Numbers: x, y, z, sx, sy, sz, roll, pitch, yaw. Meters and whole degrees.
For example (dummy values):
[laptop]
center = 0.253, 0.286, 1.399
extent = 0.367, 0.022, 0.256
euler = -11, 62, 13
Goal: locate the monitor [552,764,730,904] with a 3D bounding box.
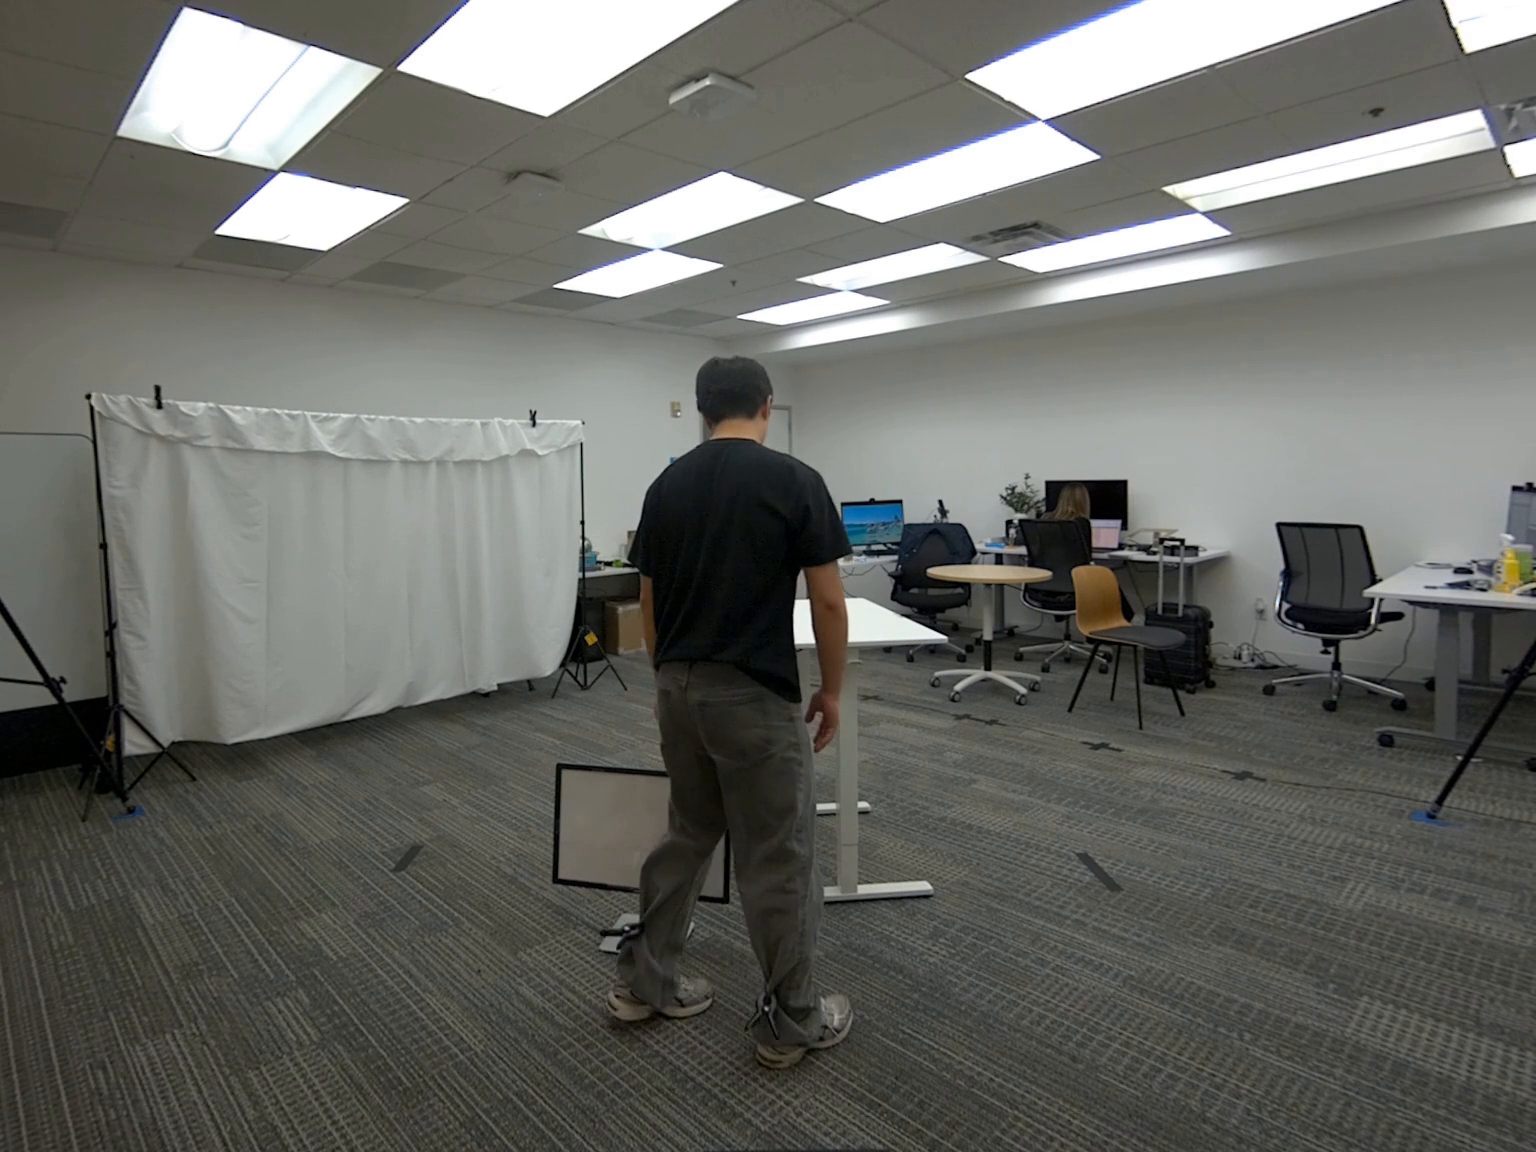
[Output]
[monitor]
center = -0.362, 0.858, 2.589
extent = 0.571, 0.562, 0.220
euler = 1, 8, 17
